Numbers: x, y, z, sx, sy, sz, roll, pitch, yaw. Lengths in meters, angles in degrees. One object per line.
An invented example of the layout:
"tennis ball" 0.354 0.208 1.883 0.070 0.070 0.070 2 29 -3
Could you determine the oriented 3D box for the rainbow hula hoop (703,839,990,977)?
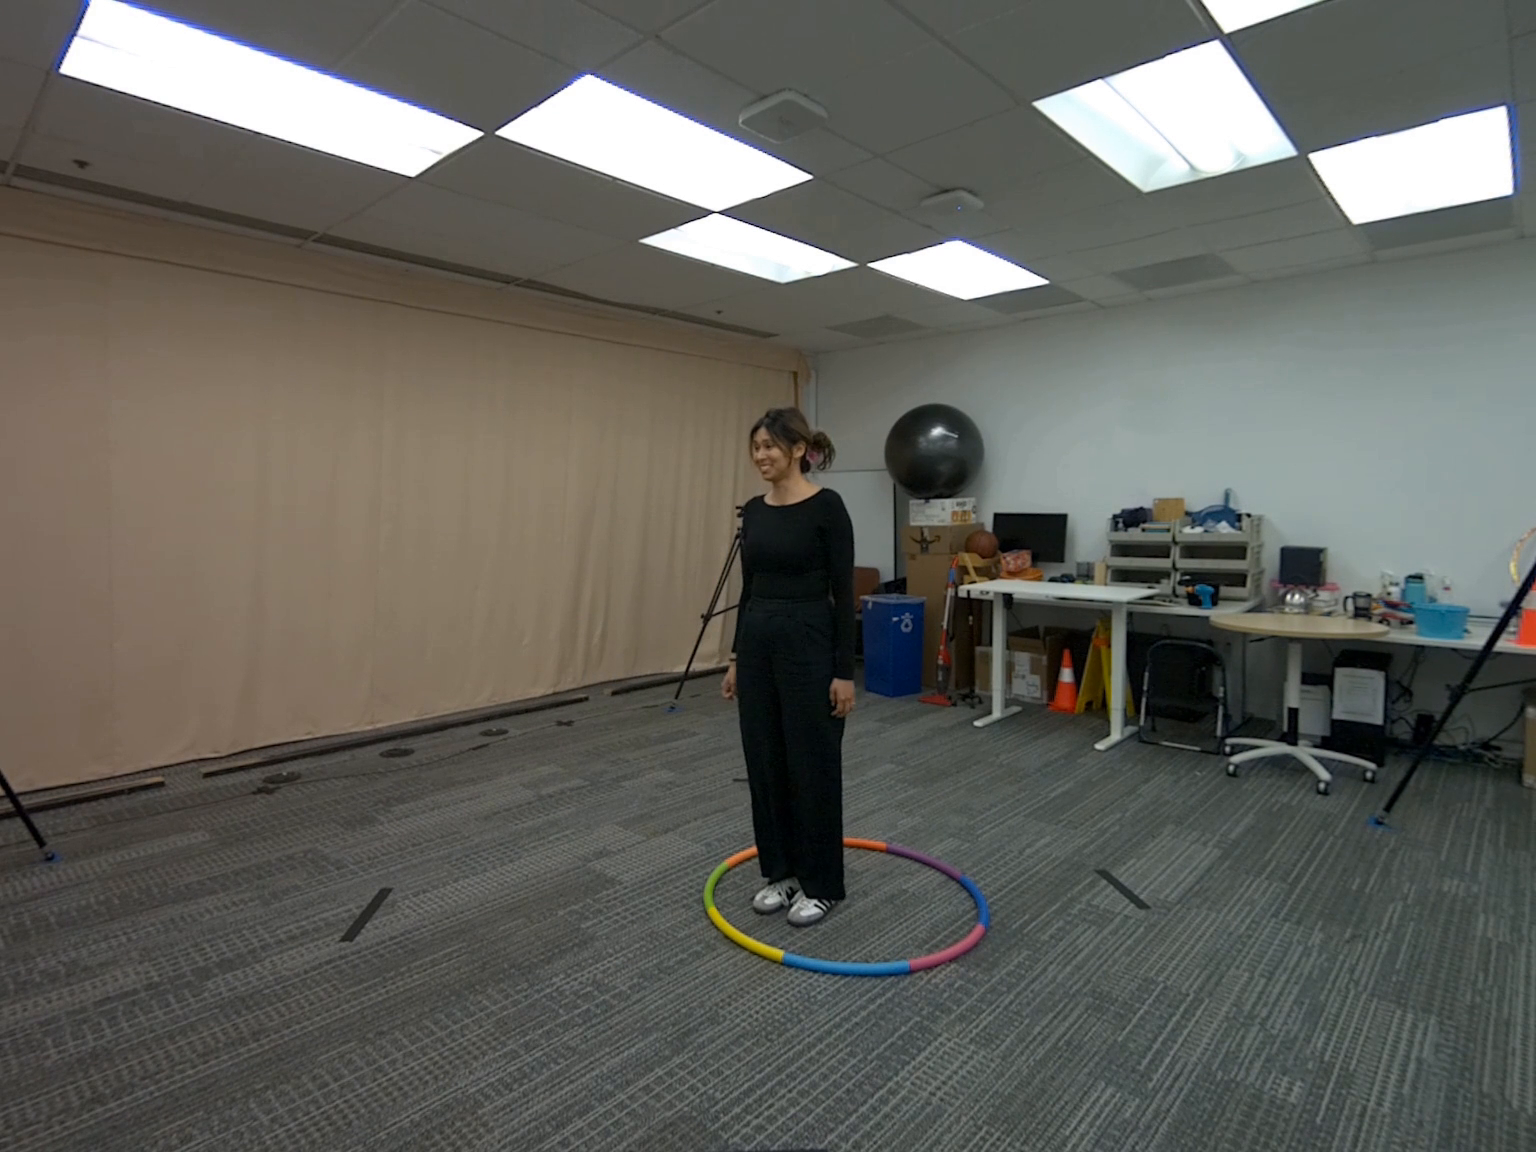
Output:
"rainbow hula hoop" 0.264 1.117 2.970 0.978 0.035 0.982 0 5 -2
